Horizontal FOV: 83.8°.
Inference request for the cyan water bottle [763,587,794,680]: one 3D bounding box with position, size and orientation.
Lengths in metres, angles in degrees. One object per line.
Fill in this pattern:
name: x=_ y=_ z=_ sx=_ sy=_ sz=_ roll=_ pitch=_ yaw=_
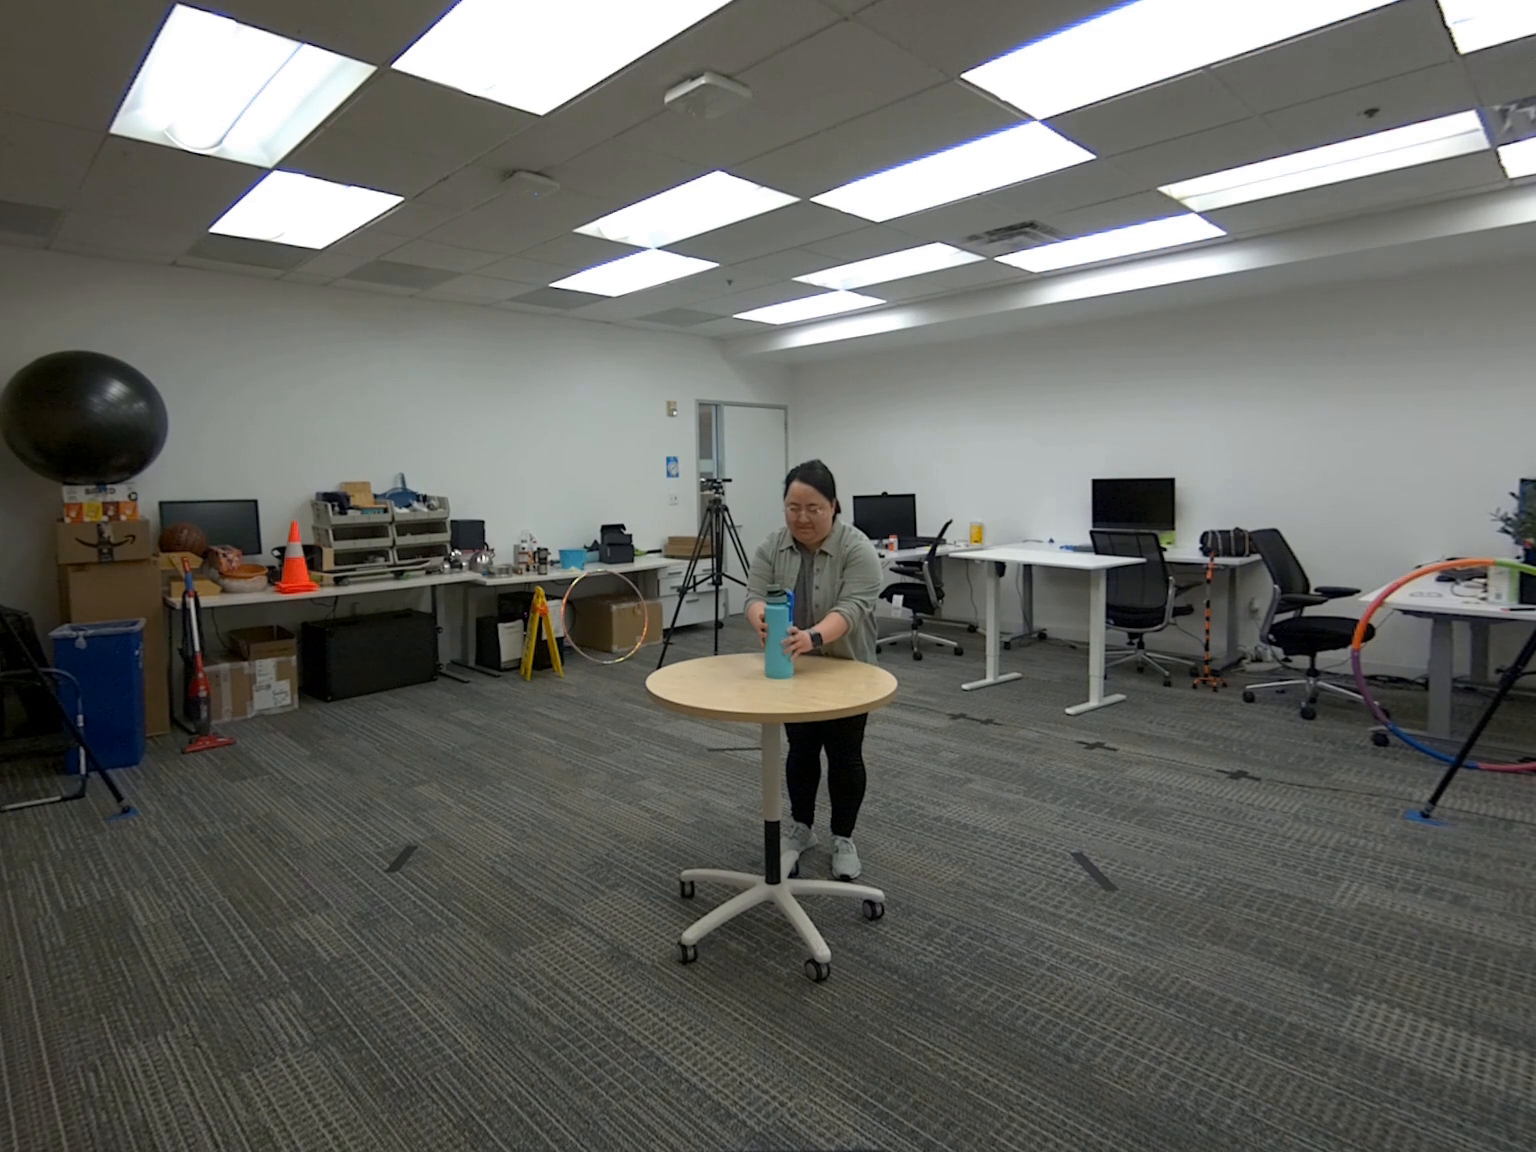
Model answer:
cyan water bottle: x=0.040 y=0.176 z=2.655 sx=0.092 sy=0.282 sz=0.093 roll=-1 pitch=4 yaw=-2
